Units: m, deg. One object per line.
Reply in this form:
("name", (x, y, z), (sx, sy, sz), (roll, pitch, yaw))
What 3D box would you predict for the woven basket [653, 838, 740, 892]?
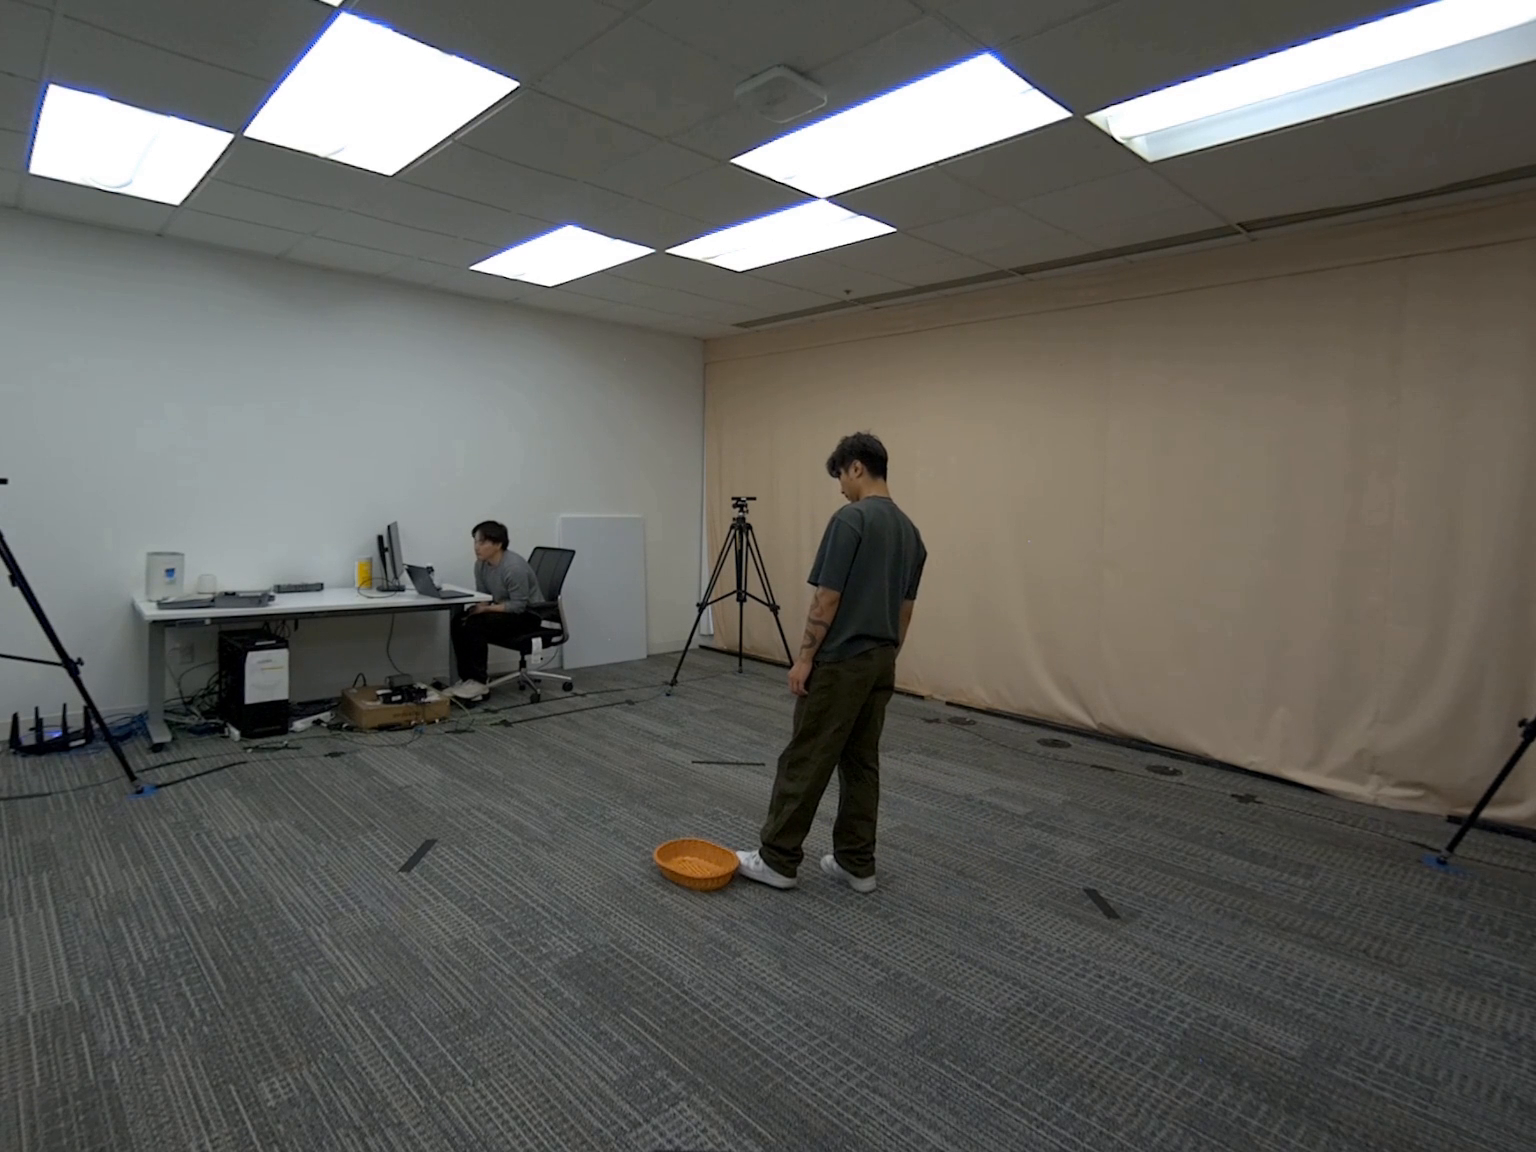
("woven basket", (-0.271, 1.056, 3.095), (0.359, 0.073, 0.247), (5, 9, 40))
